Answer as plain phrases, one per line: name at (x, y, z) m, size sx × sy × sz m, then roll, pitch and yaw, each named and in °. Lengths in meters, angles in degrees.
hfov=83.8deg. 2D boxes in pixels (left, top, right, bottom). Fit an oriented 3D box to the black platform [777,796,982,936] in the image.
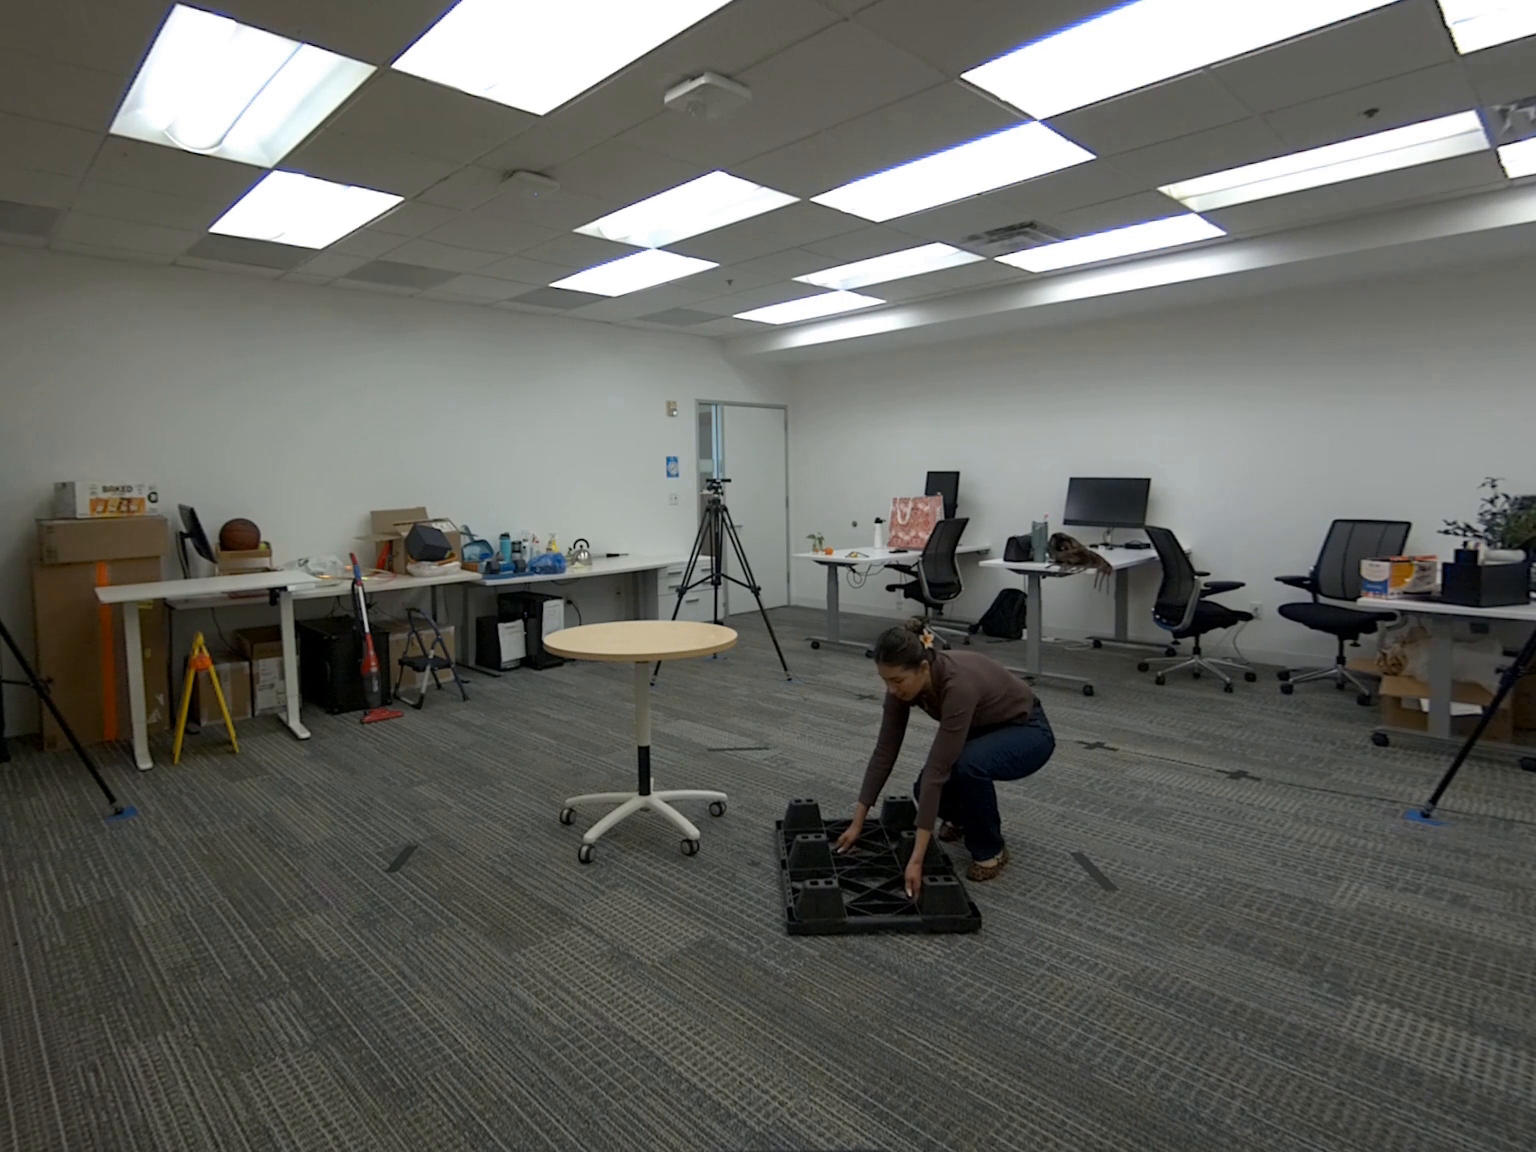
black platform at (0.343, 0.975, 2.988) m, size 0.605 × 0.142 × 0.810 m, roll -2°, pitch 6°, yaw -1°
